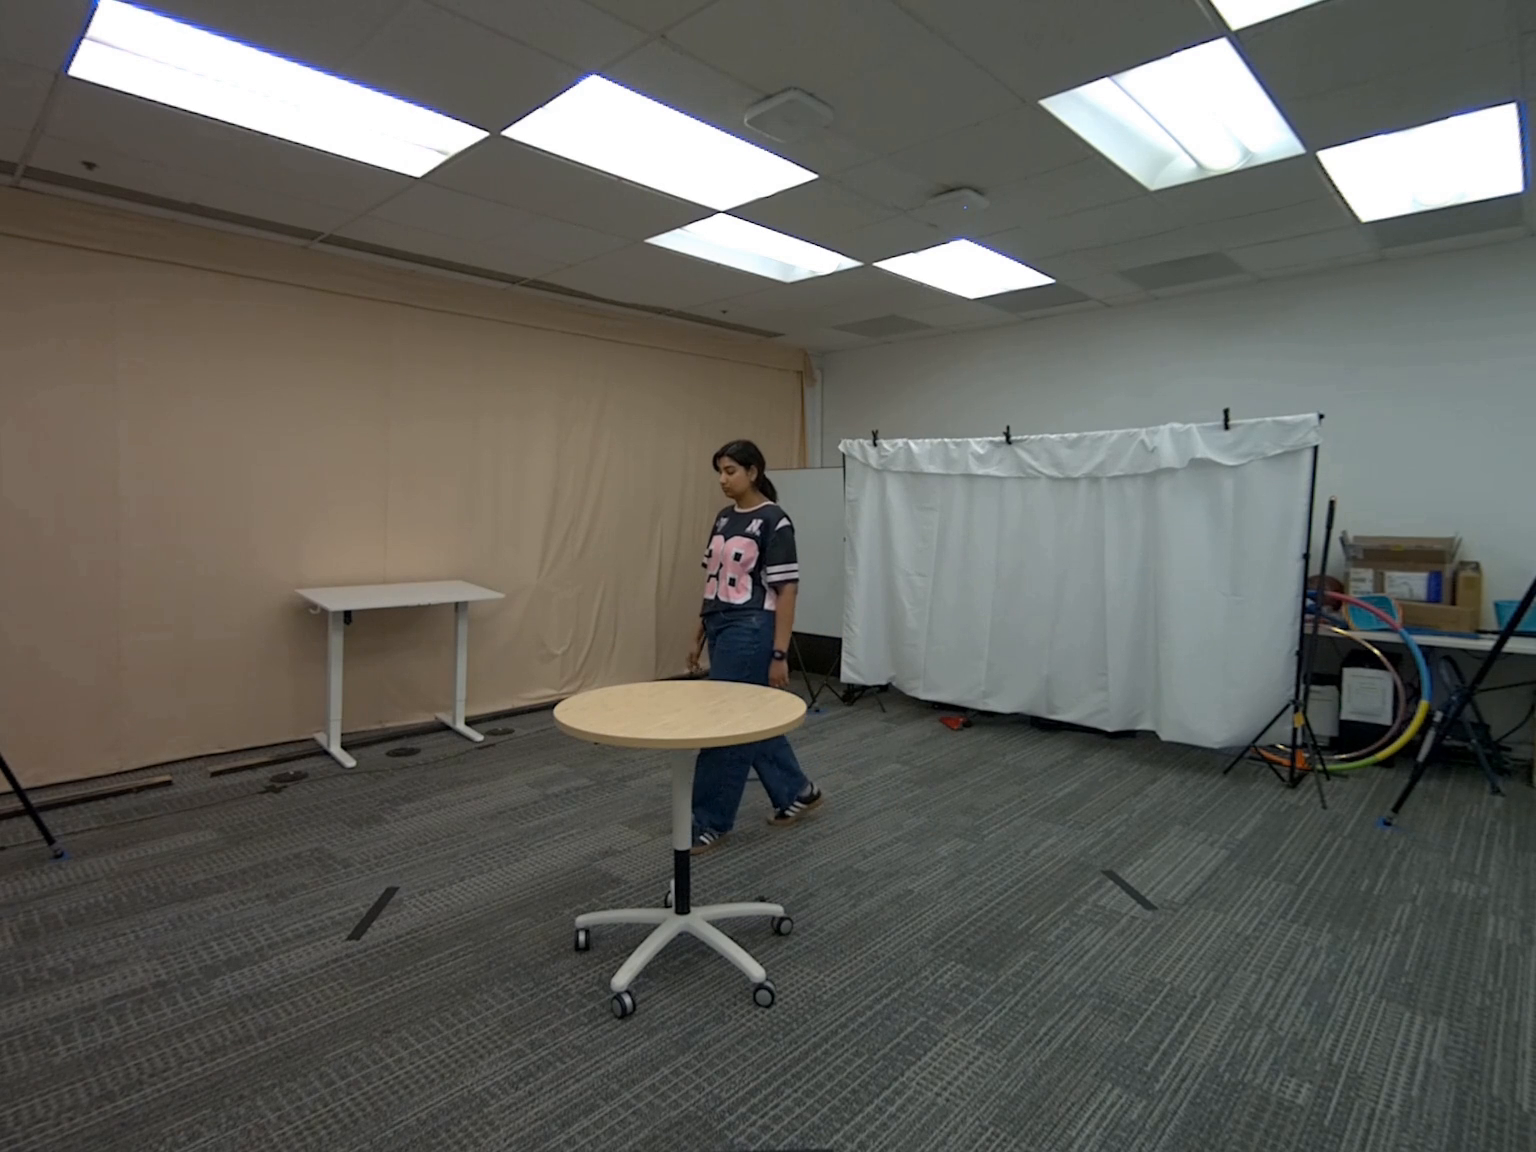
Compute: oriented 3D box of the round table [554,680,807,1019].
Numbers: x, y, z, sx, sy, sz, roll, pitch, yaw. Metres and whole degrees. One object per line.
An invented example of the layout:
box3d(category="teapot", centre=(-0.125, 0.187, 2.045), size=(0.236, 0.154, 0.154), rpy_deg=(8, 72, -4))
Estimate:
box3d(category="round table", centre=(-0.264, 0.789, 2.580), size=(0.763, 0.792, 0.766), rpy_deg=(-1, 3, -2))
